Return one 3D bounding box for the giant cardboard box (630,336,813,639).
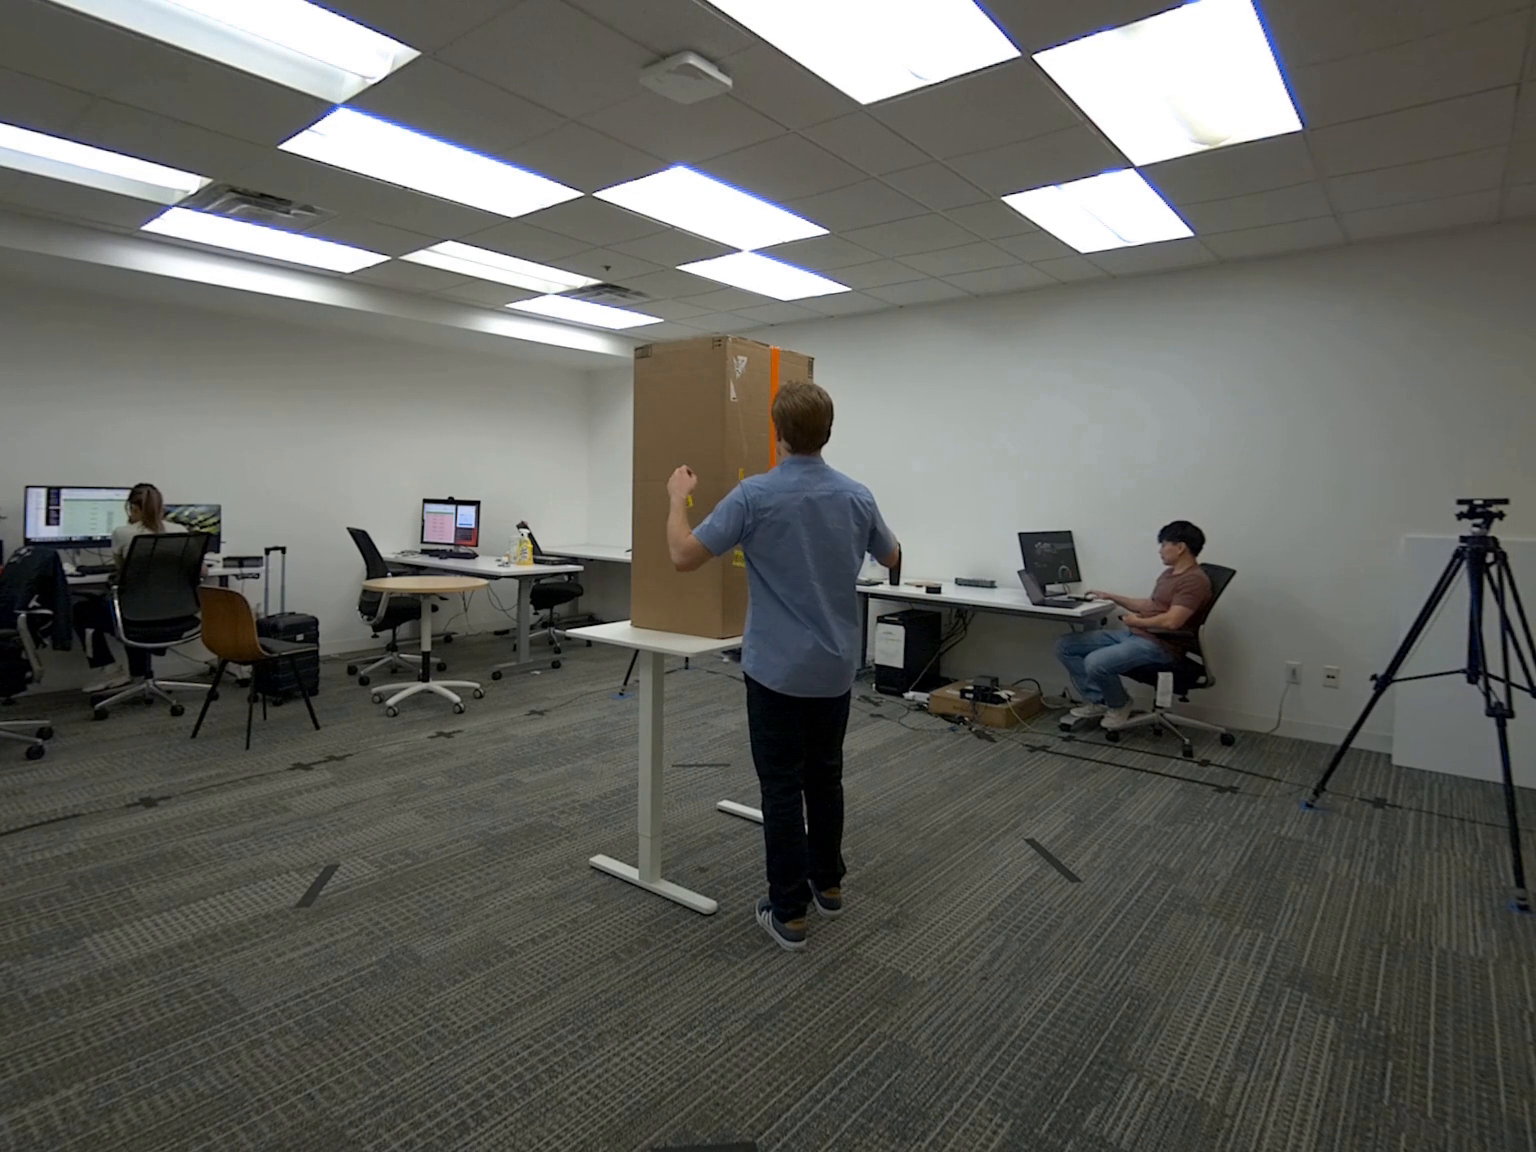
[{"bbox_3d":[-0.171,-0.329,3.190,0.440,1.023,0.561,3,4,35],"label":"giant cardboard box"}]
